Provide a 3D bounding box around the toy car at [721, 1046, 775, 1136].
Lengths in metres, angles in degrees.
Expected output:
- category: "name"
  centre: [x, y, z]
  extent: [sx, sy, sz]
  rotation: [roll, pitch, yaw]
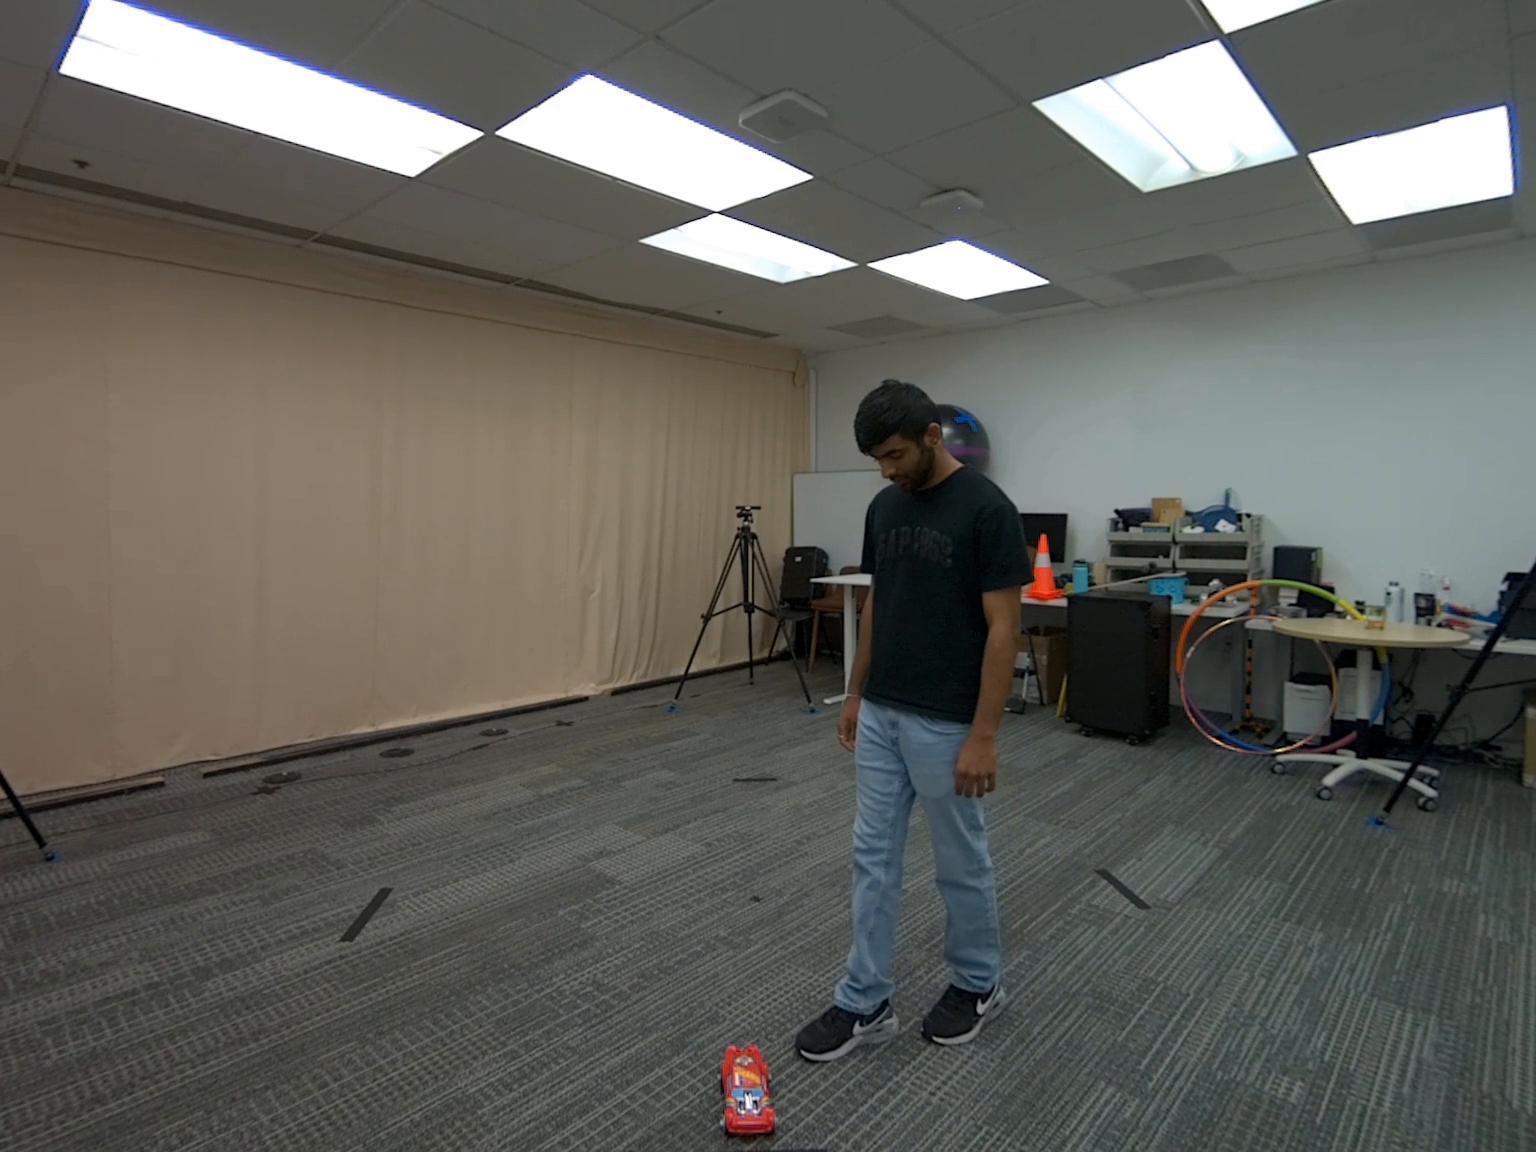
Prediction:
- category: "toy car"
  centre: [-0.046, 1.207, 1.954]
  extent: [0.130, 0.082, 0.257]
  rotation: [-1, 15, -4]
